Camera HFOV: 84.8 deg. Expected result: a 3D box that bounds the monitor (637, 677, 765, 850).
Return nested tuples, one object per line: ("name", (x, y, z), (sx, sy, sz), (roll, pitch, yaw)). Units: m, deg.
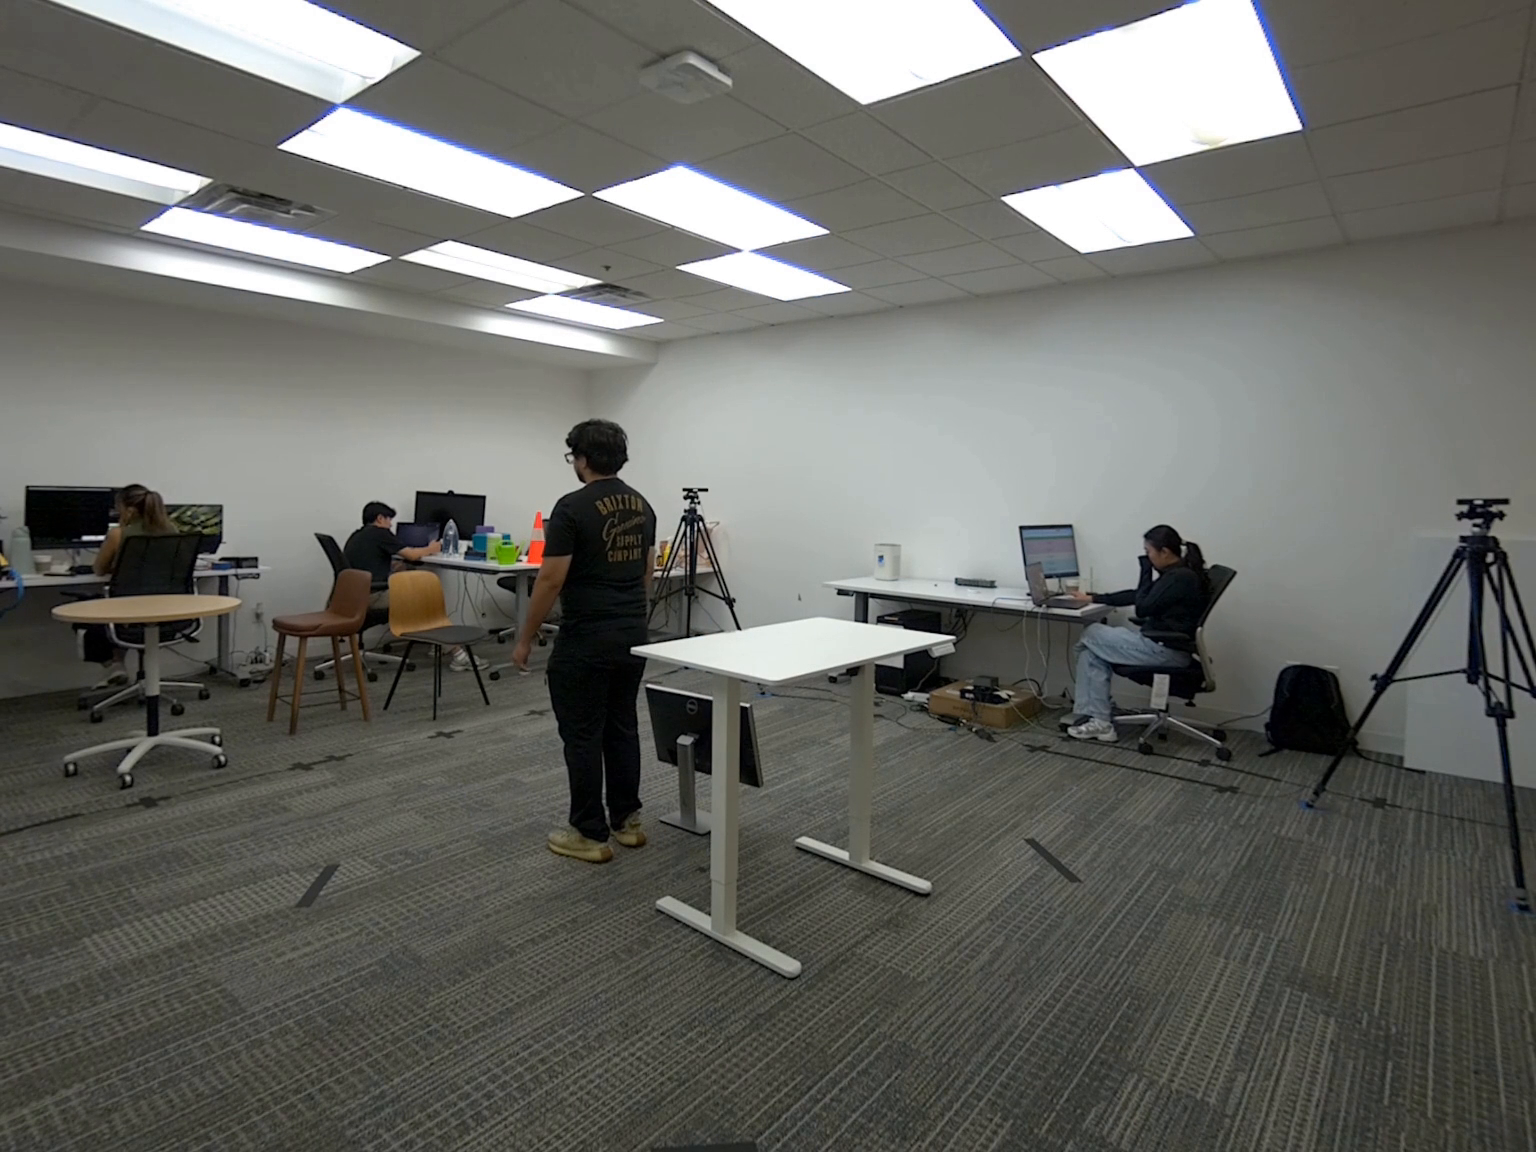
("monitor", (-0.321, 0.760, 3.516), (0.584, 0.550, 0.205), (4, 10, 37))
